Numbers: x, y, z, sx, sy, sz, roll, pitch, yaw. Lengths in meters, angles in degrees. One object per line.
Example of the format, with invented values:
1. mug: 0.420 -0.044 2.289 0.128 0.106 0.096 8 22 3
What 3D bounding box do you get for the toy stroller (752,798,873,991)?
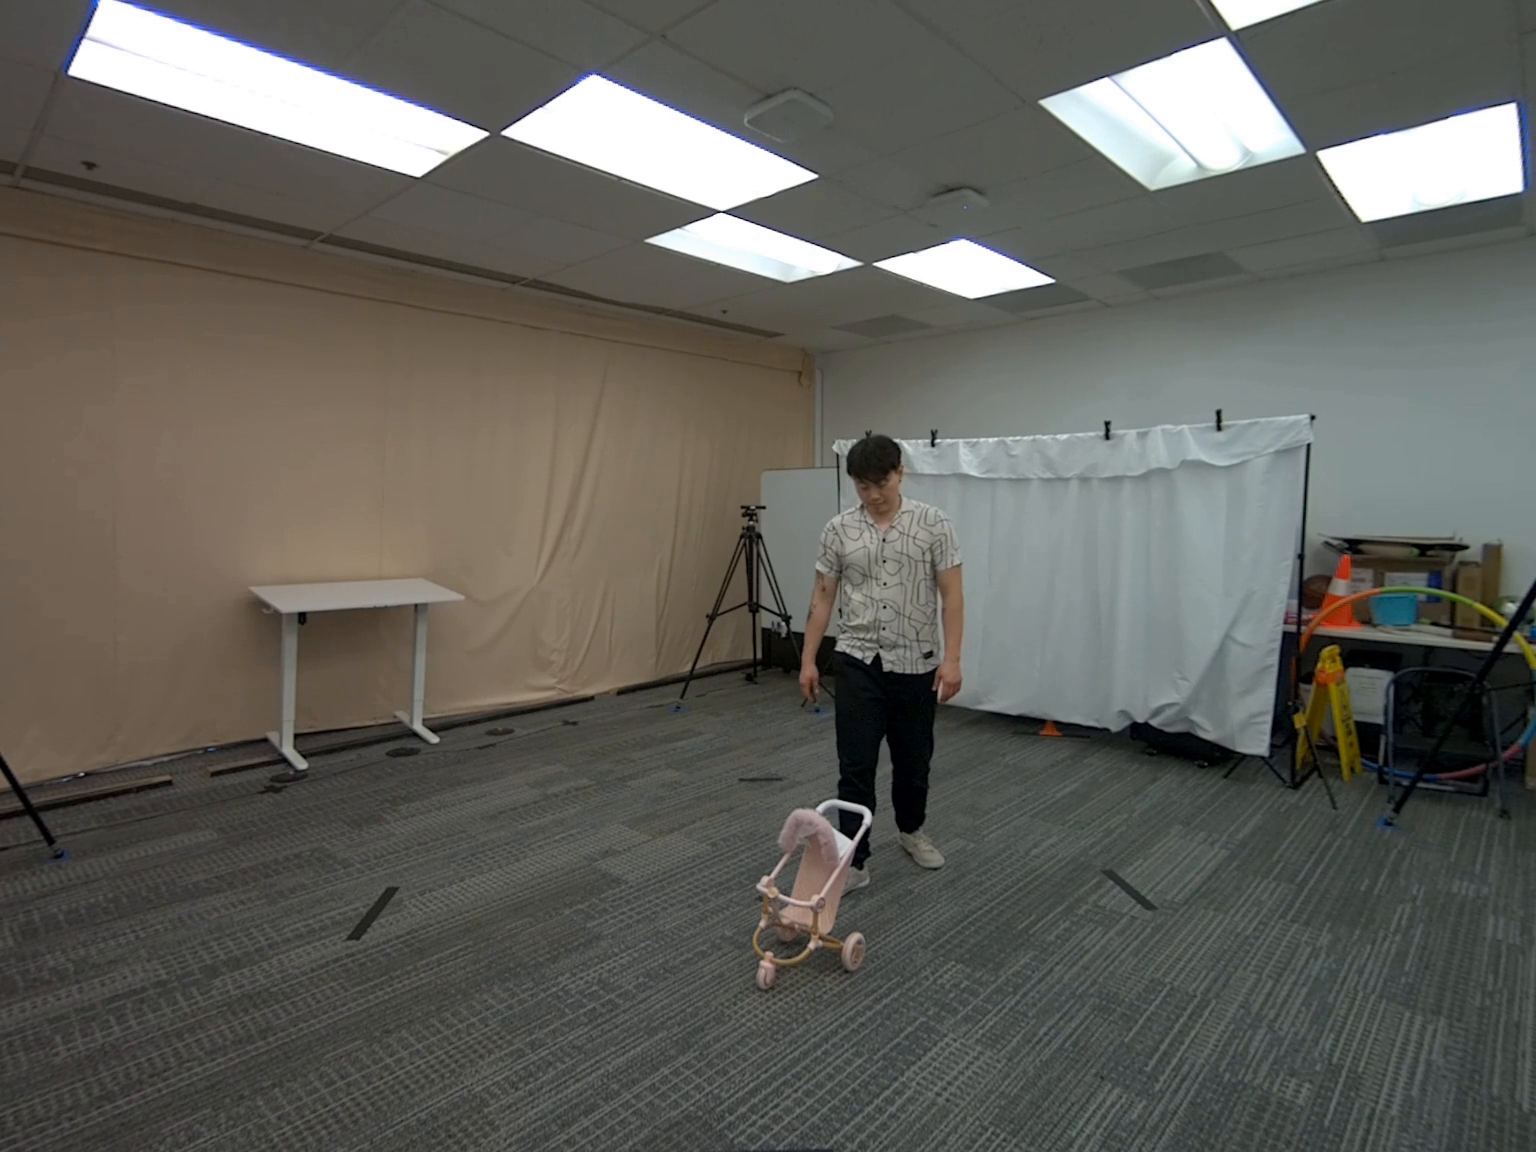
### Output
1. toy stroller: 0.122 0.953 2.556 0.329 0.537 0.291 18 -10 -42
